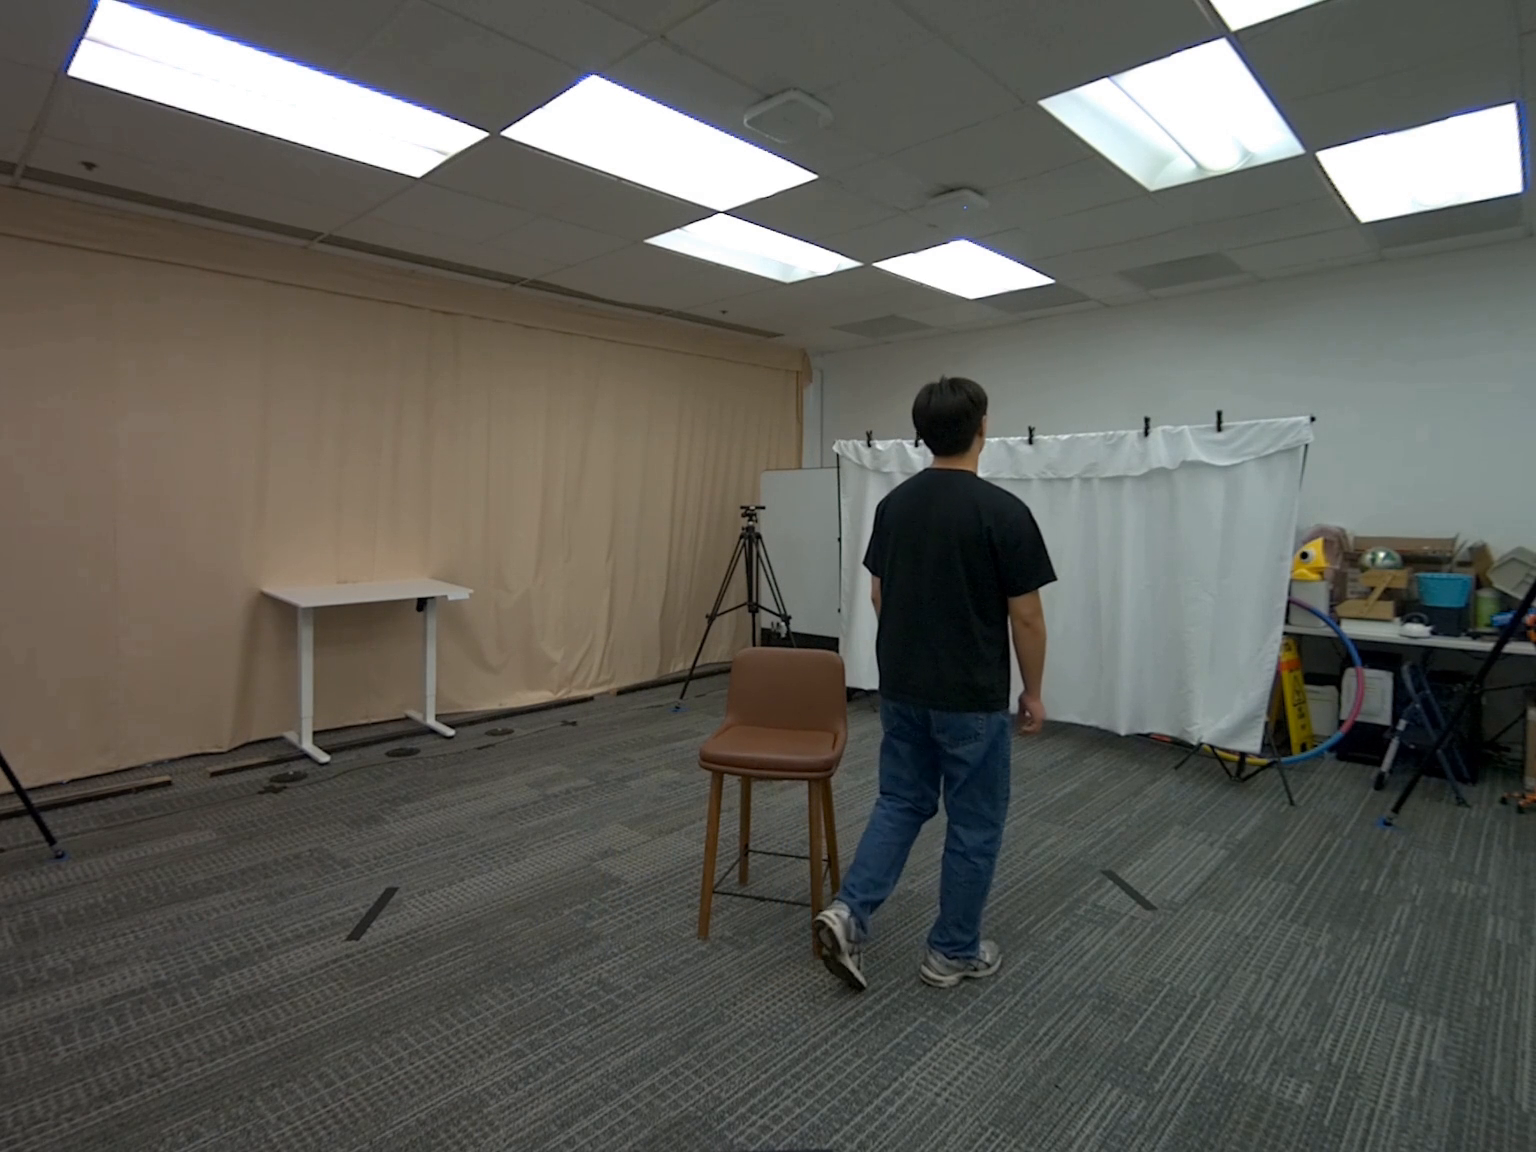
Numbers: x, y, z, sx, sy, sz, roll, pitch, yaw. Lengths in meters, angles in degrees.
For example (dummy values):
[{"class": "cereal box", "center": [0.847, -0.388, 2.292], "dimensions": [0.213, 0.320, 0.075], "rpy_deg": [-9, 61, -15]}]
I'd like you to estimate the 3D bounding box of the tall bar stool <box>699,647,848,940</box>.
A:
[{"class": "tall bar stool", "center": [0.031, 0.722, 2.843], "dimensions": [0.466, 0.888, 0.459], "rpy_deg": [2, 2, 18]}]
